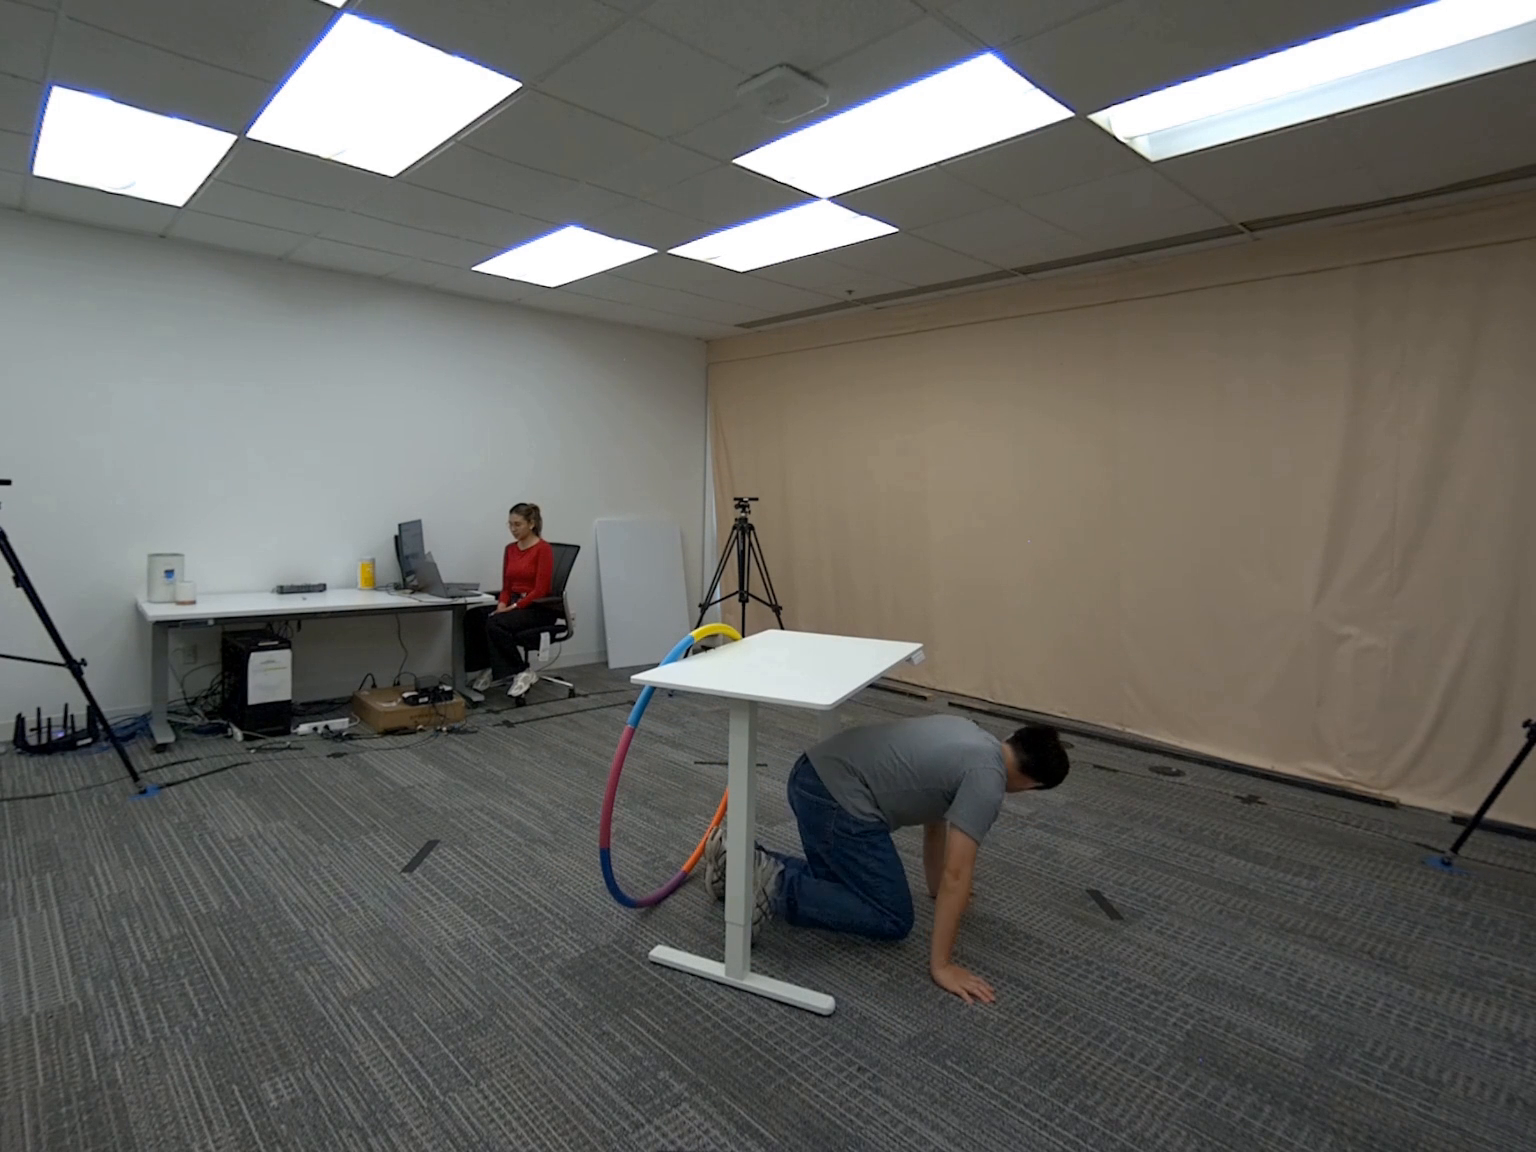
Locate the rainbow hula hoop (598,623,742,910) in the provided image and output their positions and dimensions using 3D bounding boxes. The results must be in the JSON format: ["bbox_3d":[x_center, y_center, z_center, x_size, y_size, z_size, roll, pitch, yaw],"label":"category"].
[{"bbox_3d":[-0.289,0.642,2.891,0.036,0.974,0.963,13,8,21],"label":"rainbow hula hoop"}]
